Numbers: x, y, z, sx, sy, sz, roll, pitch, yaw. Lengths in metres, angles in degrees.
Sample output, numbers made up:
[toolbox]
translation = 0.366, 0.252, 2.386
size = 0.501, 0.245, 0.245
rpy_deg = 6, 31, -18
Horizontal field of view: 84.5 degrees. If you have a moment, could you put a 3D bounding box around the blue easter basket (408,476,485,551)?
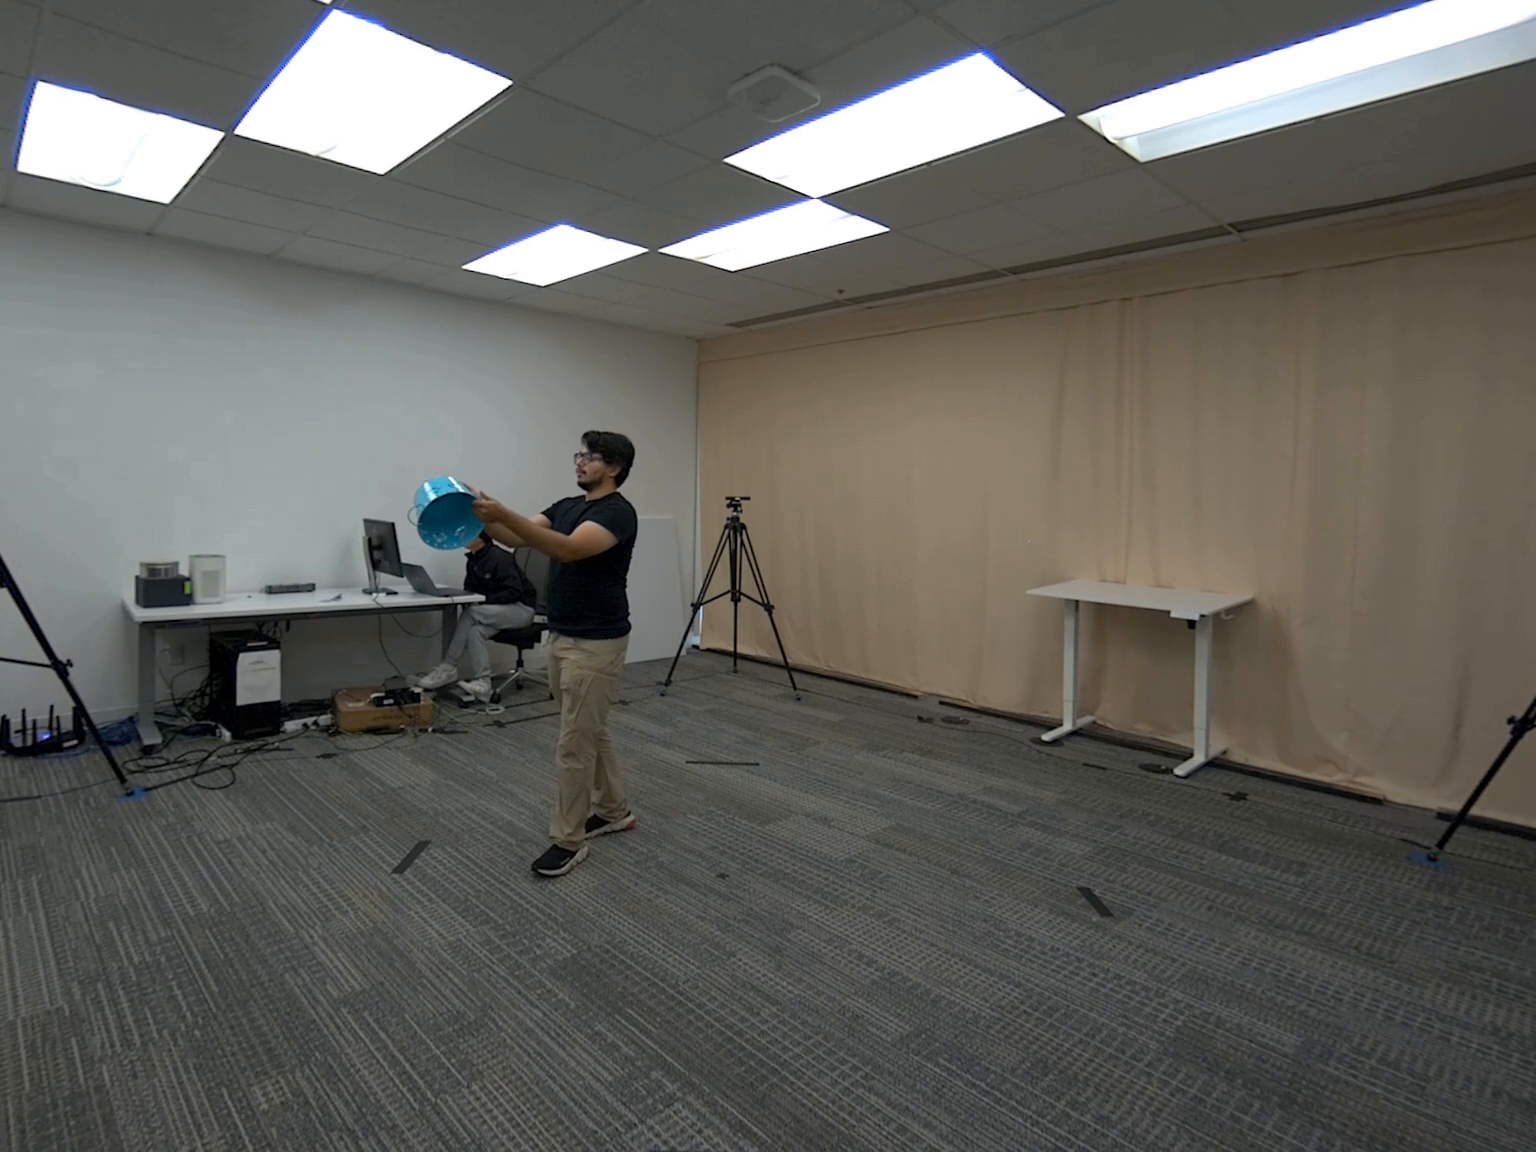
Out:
[blue easter basket]
translation = -1.118, -0.226, 2.903
size = 0.238, 0.241, 0.161
rpy_deg = -2, 34, -38
